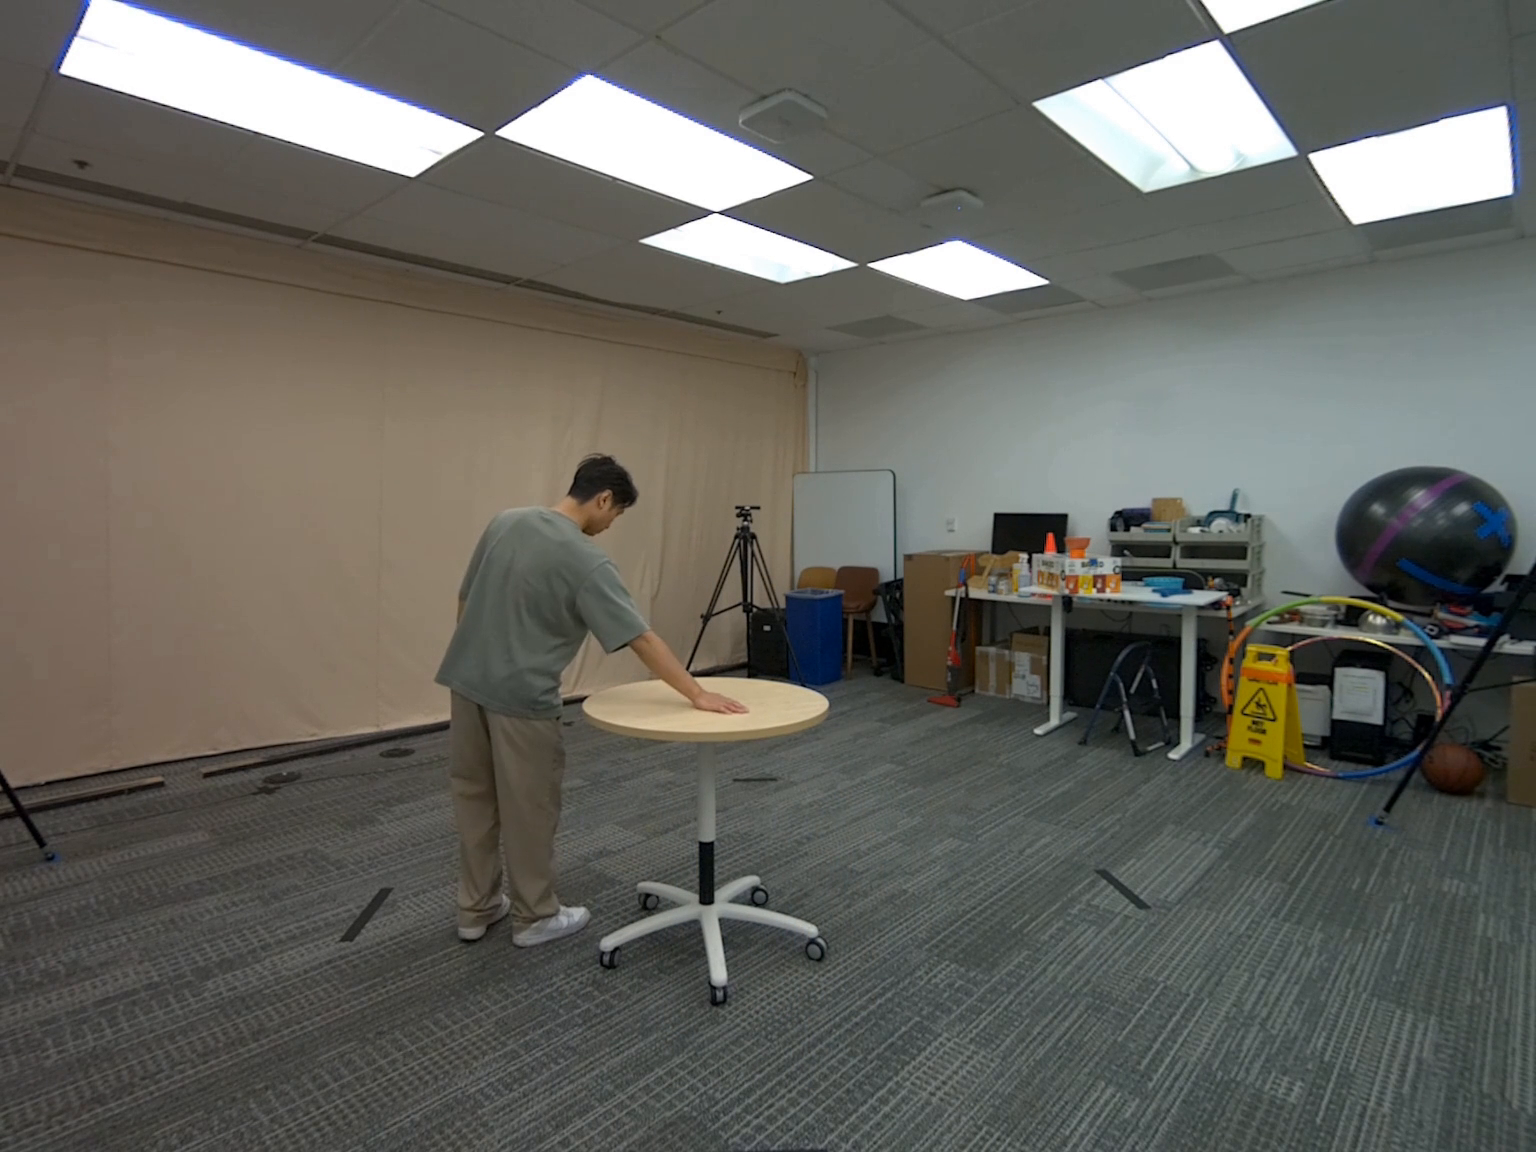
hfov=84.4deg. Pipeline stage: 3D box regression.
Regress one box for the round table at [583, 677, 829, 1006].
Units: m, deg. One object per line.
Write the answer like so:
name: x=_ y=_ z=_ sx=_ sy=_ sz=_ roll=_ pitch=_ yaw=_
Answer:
round table: x=-0.189 y=0.788 z=2.646 sx=0.763 sy=0.792 sz=0.766 roll=0 pitch=3 yaw=-2
